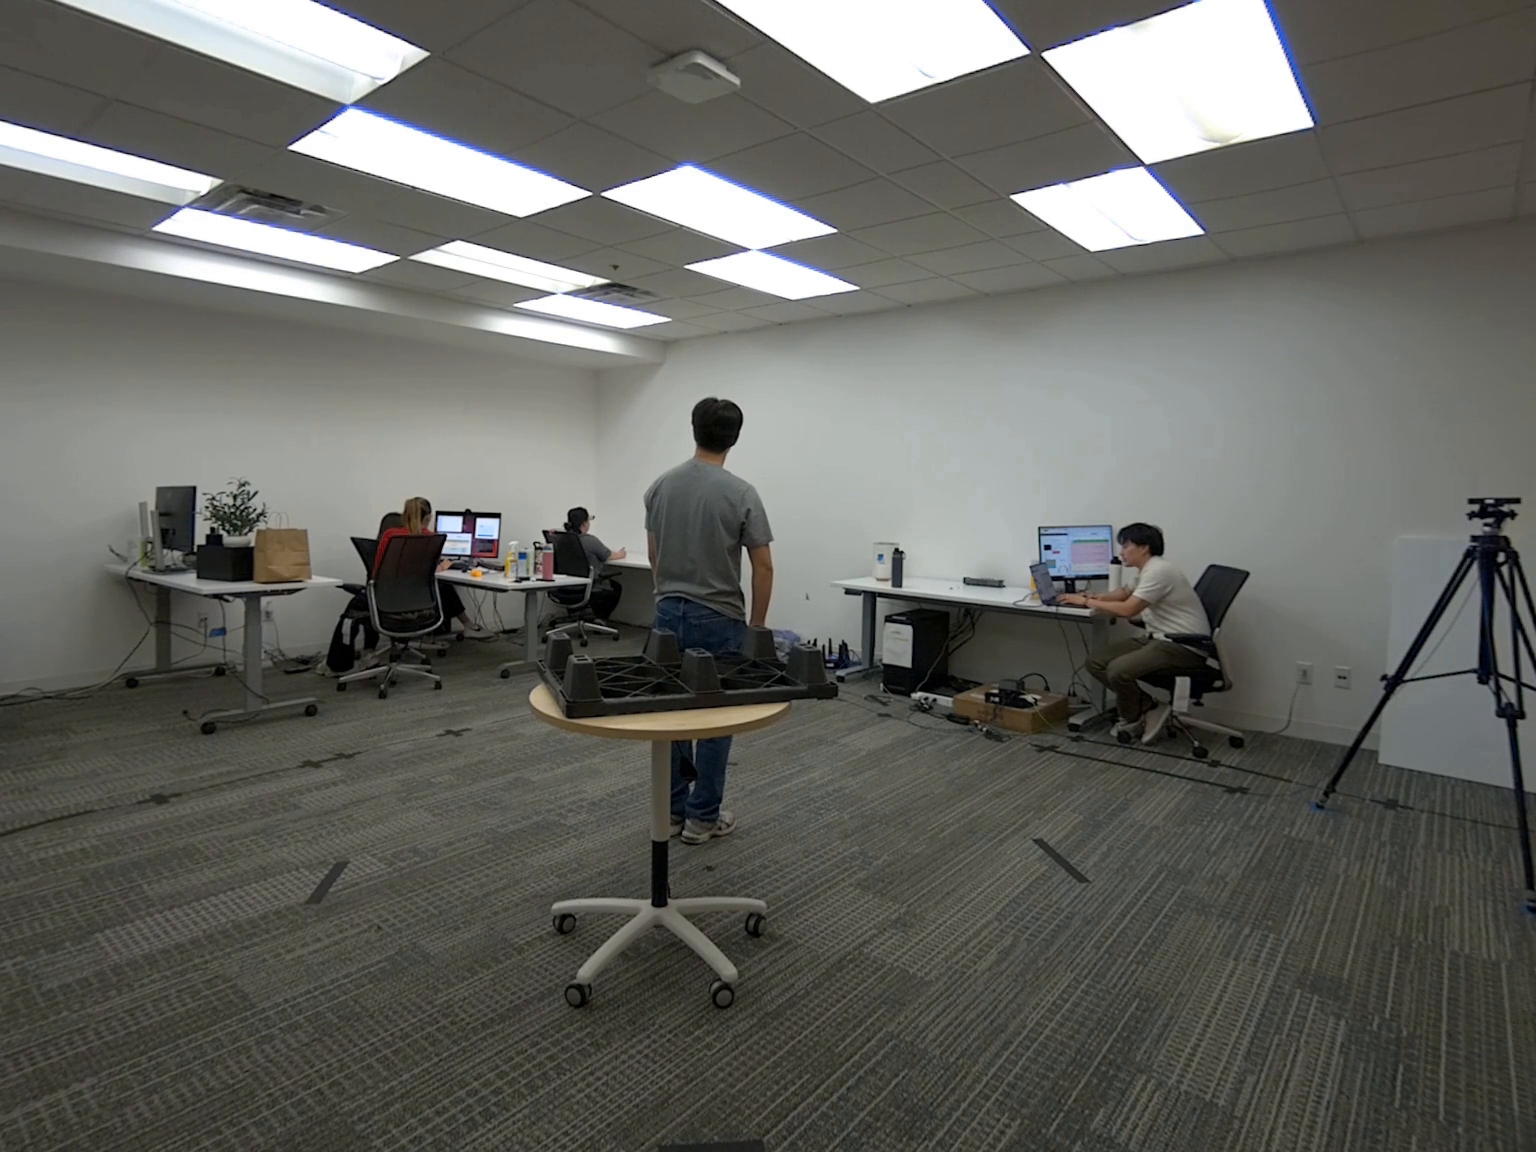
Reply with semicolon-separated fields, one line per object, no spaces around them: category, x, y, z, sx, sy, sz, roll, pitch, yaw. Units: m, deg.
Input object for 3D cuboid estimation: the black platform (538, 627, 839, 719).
black platform;-0.279;0.264;2.626;0.789;0.143;0.620;-1;6;-21
